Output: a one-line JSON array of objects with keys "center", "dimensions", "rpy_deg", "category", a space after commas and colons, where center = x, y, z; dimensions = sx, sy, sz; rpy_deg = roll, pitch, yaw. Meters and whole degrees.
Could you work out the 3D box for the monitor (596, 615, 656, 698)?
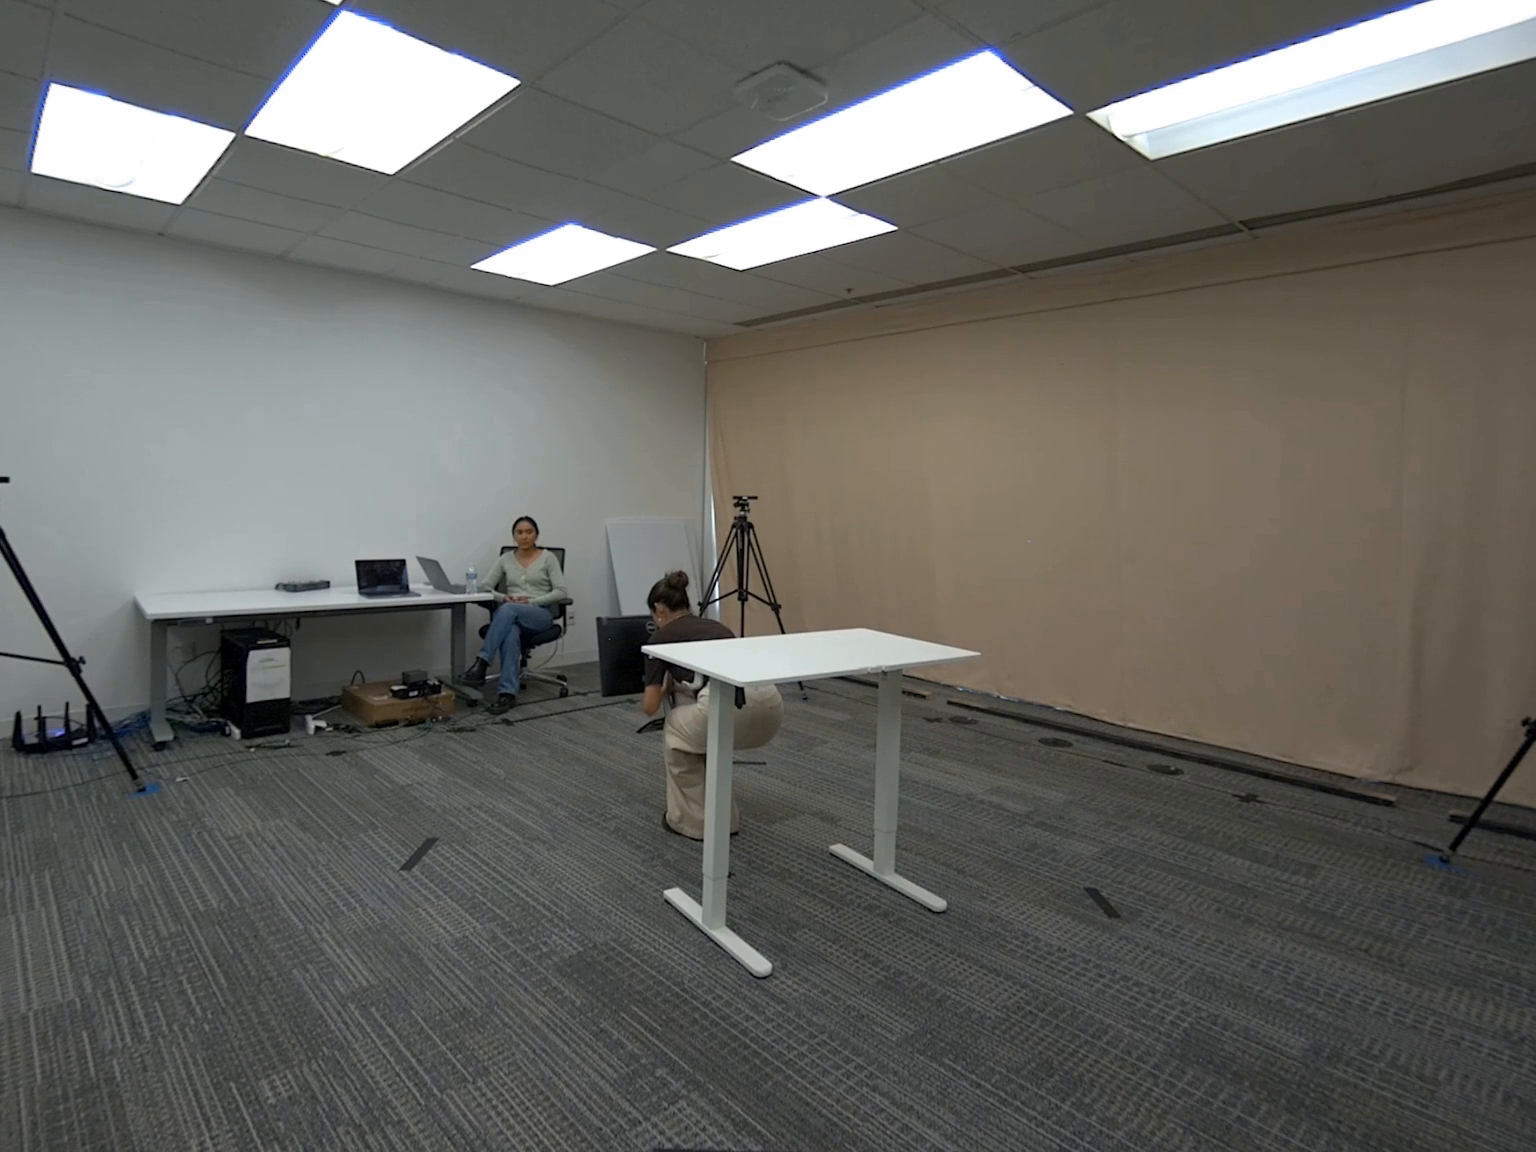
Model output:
[{"center": [-0.501, 0.429, 3.802], "dimensions": [0.526, 0.531, 0.188], "rpy_deg": [1, -26, -44], "category": "monitor"}]
